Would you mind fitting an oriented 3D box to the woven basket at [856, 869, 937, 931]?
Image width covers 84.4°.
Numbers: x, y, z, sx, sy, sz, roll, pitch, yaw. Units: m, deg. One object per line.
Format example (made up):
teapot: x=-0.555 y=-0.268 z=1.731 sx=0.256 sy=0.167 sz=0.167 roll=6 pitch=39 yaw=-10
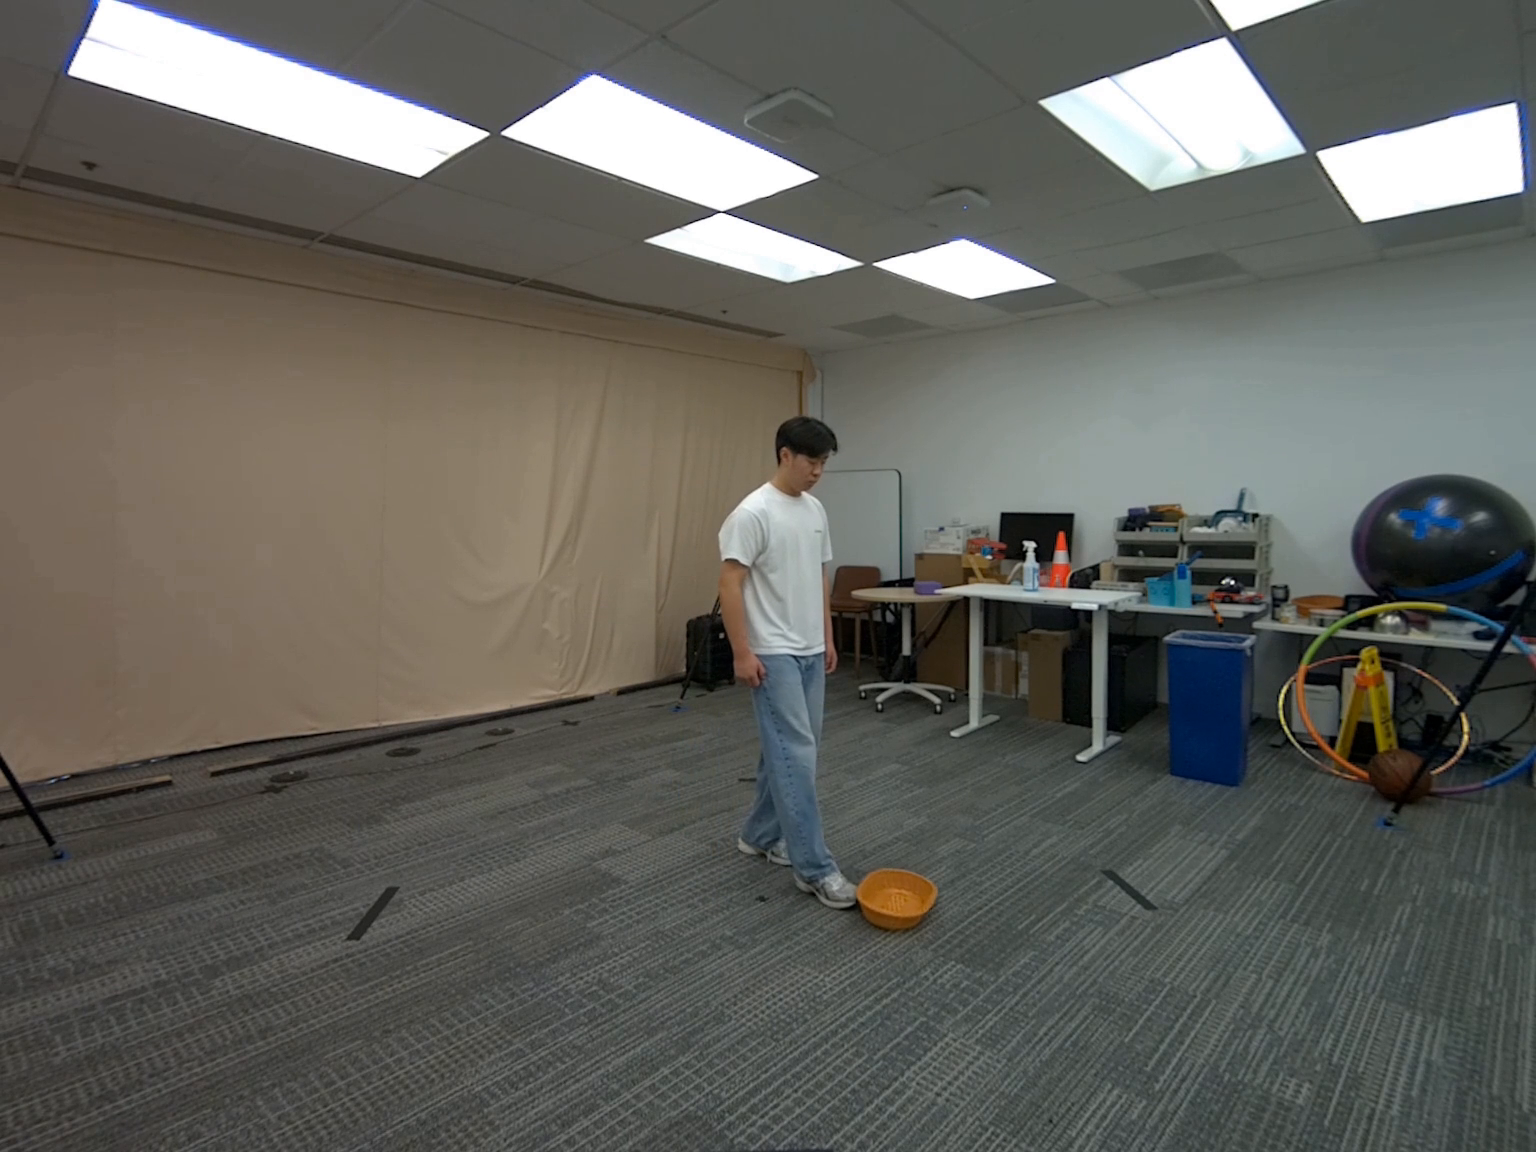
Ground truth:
woven basket: x=0.431 y=1.108 z=2.878 sx=0.259 sy=0.073 sz=0.342 roll=5 pitch=7 yaw=25
